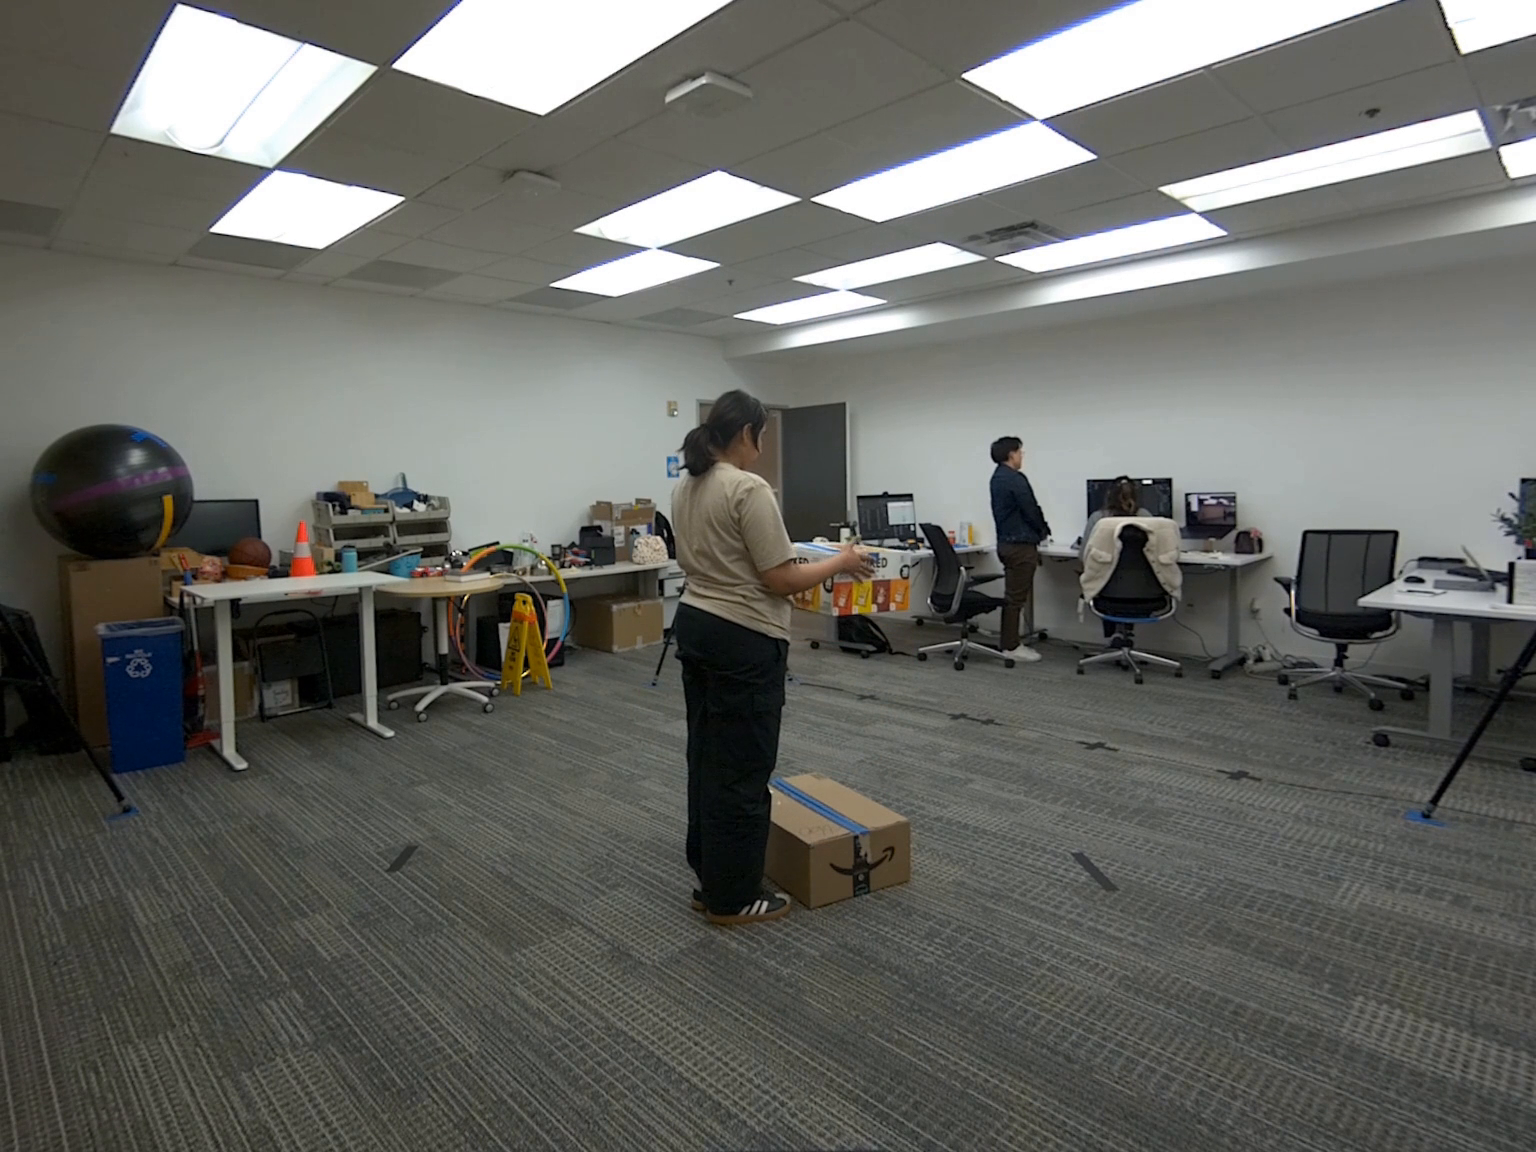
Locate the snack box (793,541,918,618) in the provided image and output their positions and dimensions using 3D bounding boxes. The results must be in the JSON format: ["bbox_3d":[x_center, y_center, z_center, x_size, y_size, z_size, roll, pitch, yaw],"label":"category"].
[{"bbox_3d":[0.232,0.000,3.013,0.331,0.205,0.417,-1,7,-33],"label":"snack box"}]
